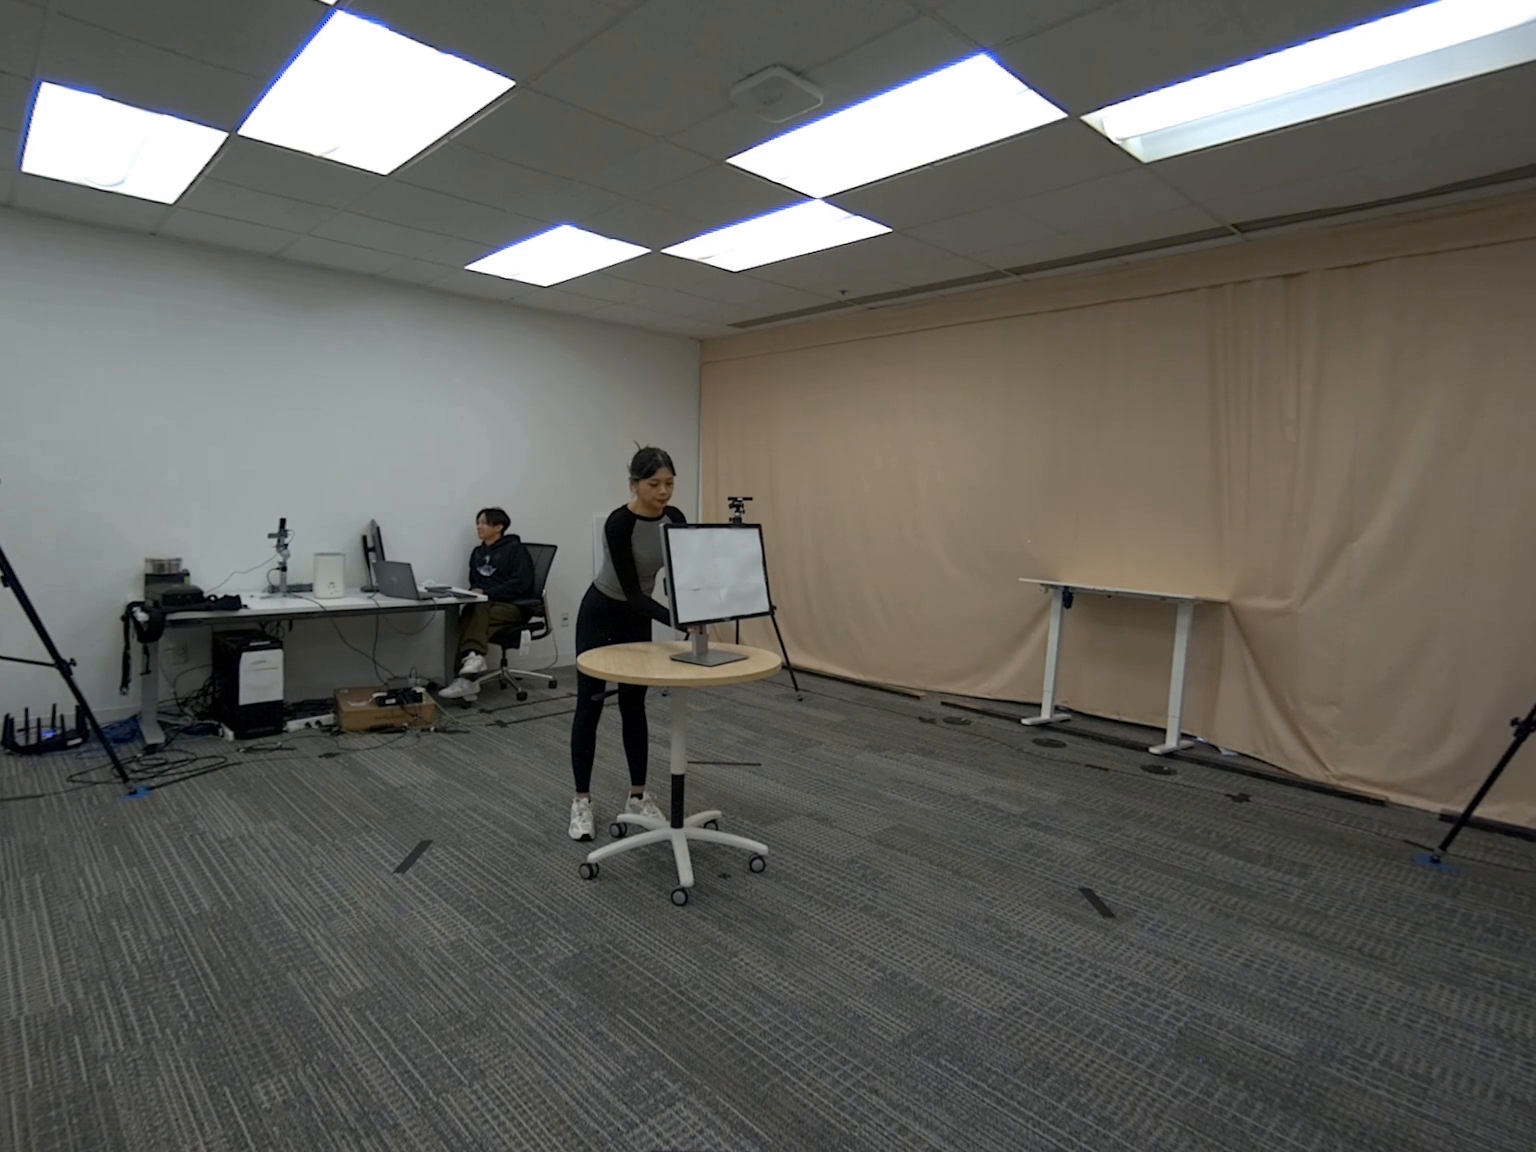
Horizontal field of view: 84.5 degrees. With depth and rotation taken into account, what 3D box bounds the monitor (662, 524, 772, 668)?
[{"bbox_3d":[-0.216,0.066,3.130,0.179,0.514,0.518,14,9,35],"label":"monitor"}]
